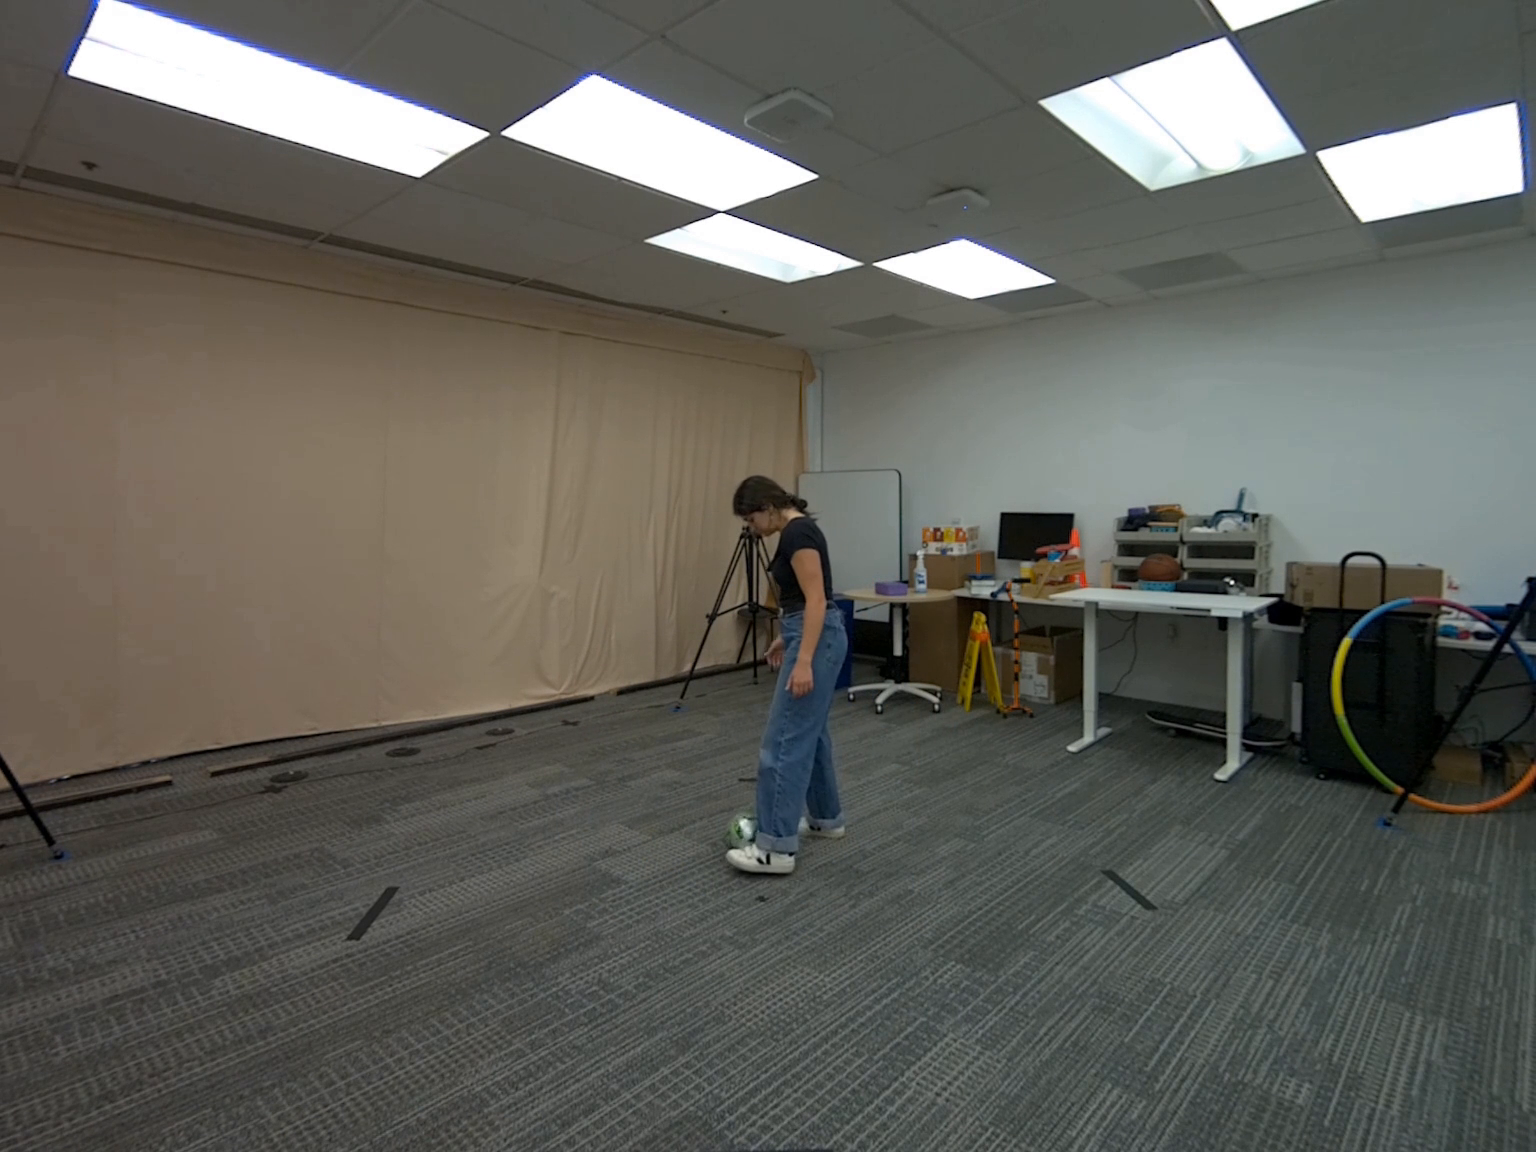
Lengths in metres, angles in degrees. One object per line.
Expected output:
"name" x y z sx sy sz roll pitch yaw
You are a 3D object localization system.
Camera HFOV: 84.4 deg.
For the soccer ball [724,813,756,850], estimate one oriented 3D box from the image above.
"soccer ball" -0.067 1.022 3.317 0.187 0.187 0.188 0 4 -2
